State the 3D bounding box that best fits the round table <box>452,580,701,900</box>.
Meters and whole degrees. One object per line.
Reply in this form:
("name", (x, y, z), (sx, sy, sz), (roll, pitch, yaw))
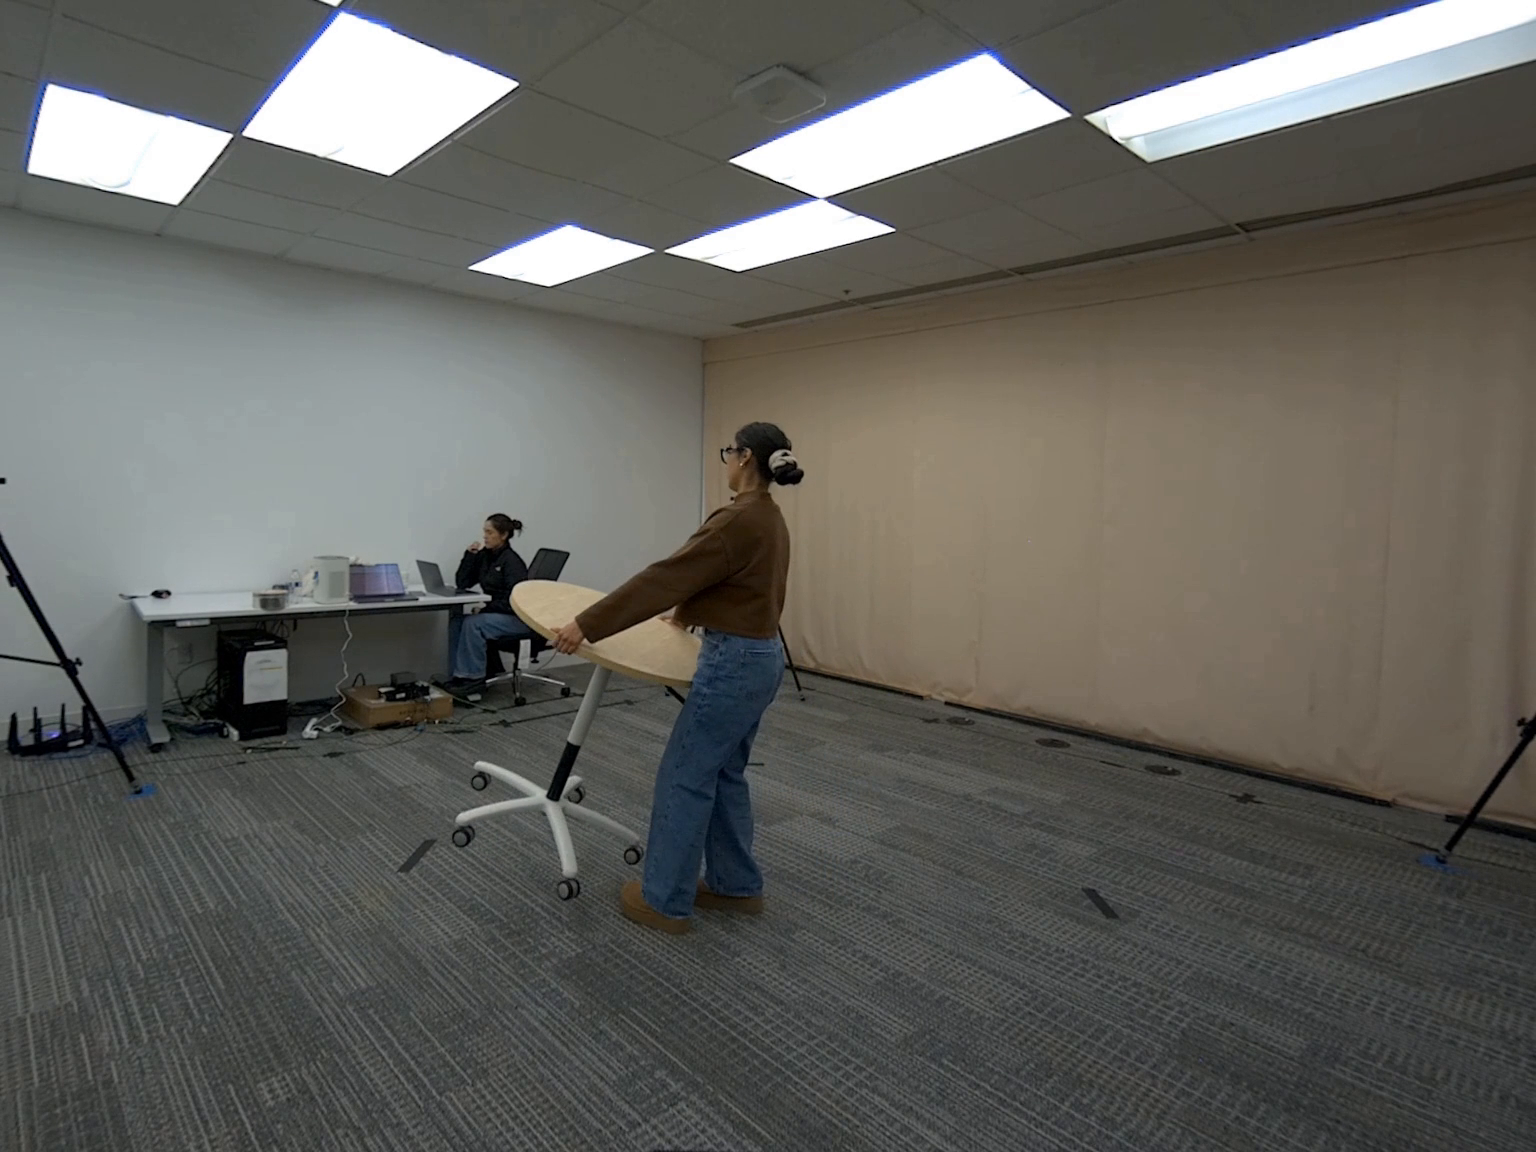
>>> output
("round table", (-0.672, 0.537, 2.908), (0.782, 0.784, 0.790), (22, 7, -4))
